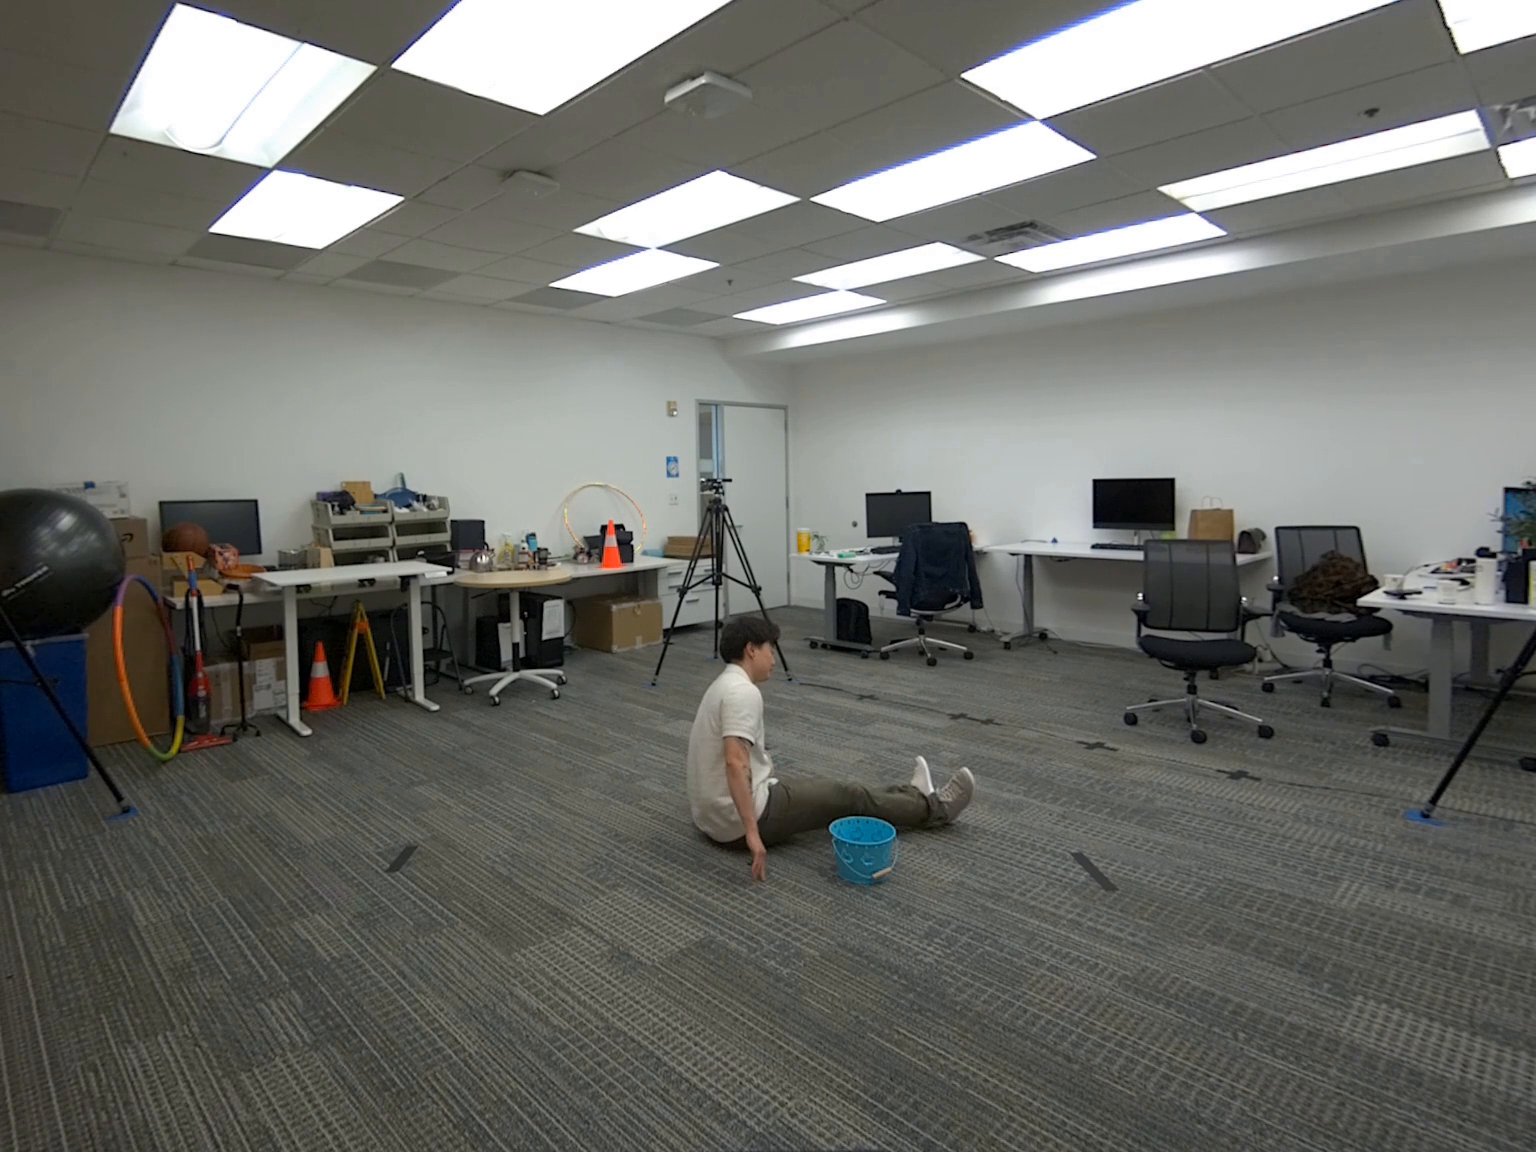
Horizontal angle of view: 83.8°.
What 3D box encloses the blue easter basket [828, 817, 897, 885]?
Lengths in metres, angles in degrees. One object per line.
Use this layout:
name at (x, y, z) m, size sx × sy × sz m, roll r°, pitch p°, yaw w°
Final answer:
blue easter basket at (0.342, 0.977, 3.016) m, size 0.243 × 0.155 × 0.245 m, roll -2°, pitch 6°, yaw -1°
